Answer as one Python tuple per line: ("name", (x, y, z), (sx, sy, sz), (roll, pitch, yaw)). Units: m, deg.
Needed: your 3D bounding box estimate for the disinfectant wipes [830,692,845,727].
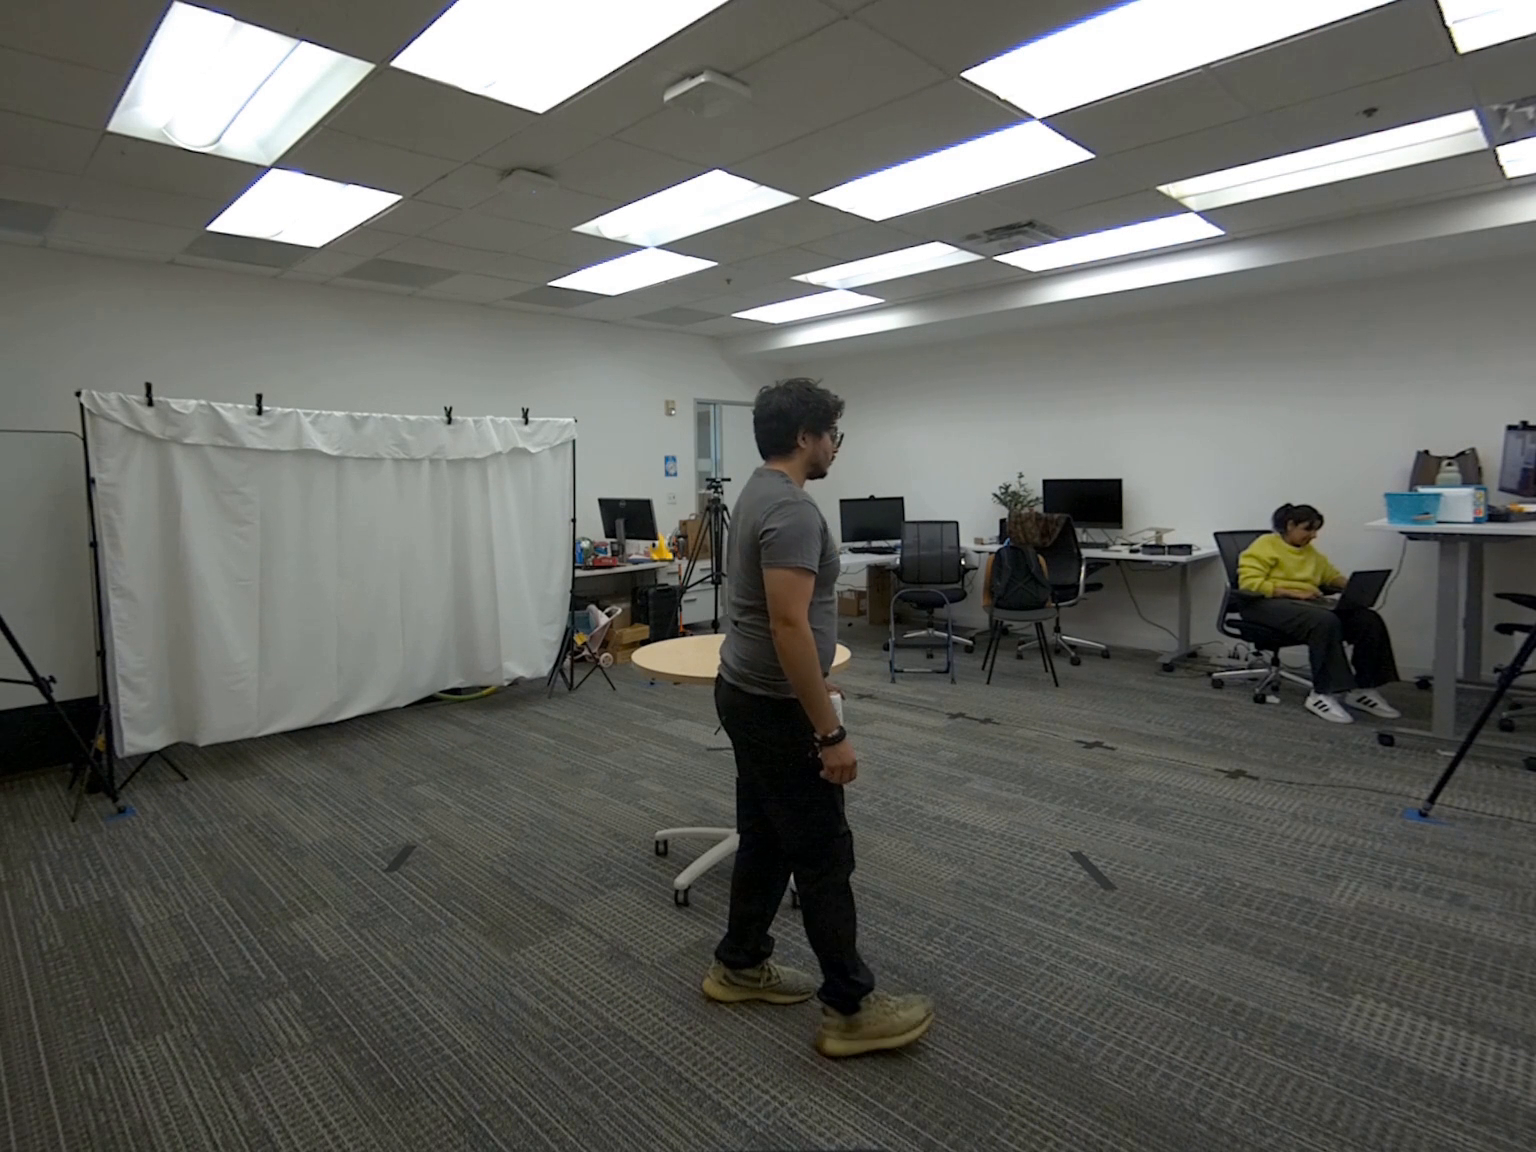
("disinfectant wipes", (0.174, 0.463, 2.513), (0.118, 0.218, 0.118), (-4, -1, -2))
